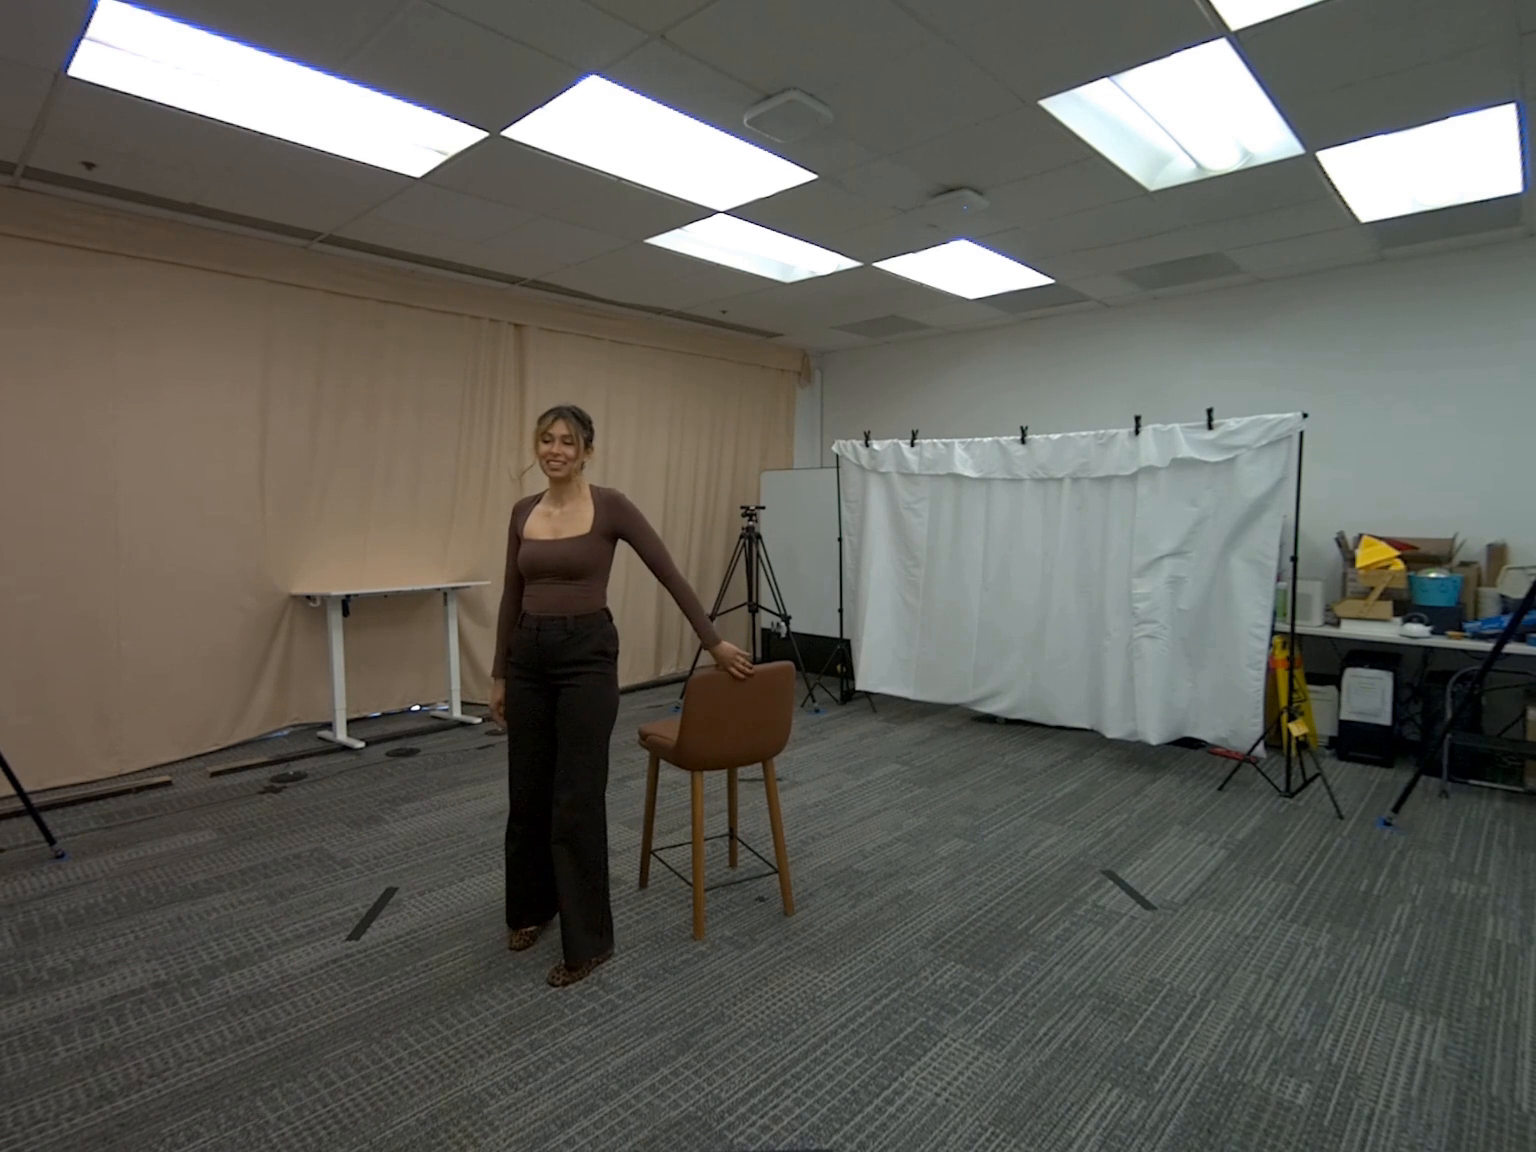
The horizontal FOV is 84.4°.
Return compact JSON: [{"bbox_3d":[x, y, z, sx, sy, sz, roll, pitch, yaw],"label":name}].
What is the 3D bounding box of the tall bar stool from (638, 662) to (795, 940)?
[{"bbox_3d":[-0.183,0.713,2.951,0.444,0.887,0.482,-2,6,-30],"label":"tall bar stool"}]
